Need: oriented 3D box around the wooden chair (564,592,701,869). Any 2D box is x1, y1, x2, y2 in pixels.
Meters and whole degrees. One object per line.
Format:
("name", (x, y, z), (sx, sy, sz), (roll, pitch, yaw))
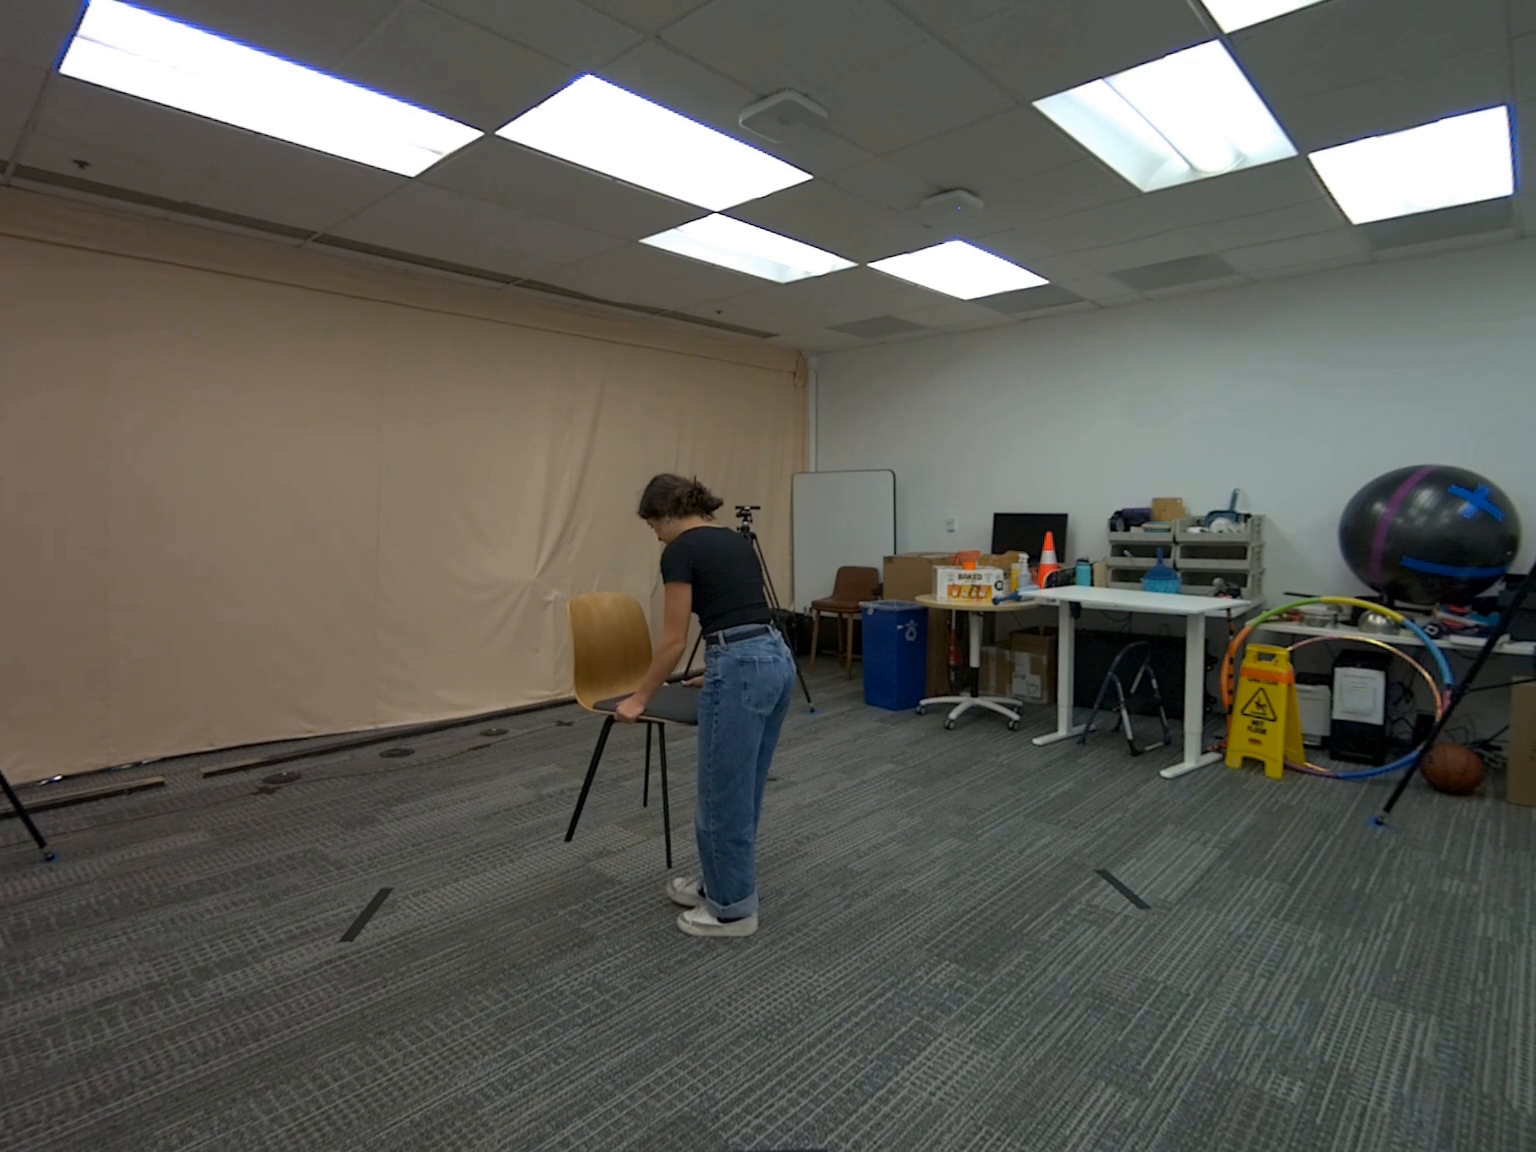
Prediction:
("wooden chair", (-0.394, 0.494, 2.965), (0.538, 0.878, 0.465), (-5, -1, 32))
